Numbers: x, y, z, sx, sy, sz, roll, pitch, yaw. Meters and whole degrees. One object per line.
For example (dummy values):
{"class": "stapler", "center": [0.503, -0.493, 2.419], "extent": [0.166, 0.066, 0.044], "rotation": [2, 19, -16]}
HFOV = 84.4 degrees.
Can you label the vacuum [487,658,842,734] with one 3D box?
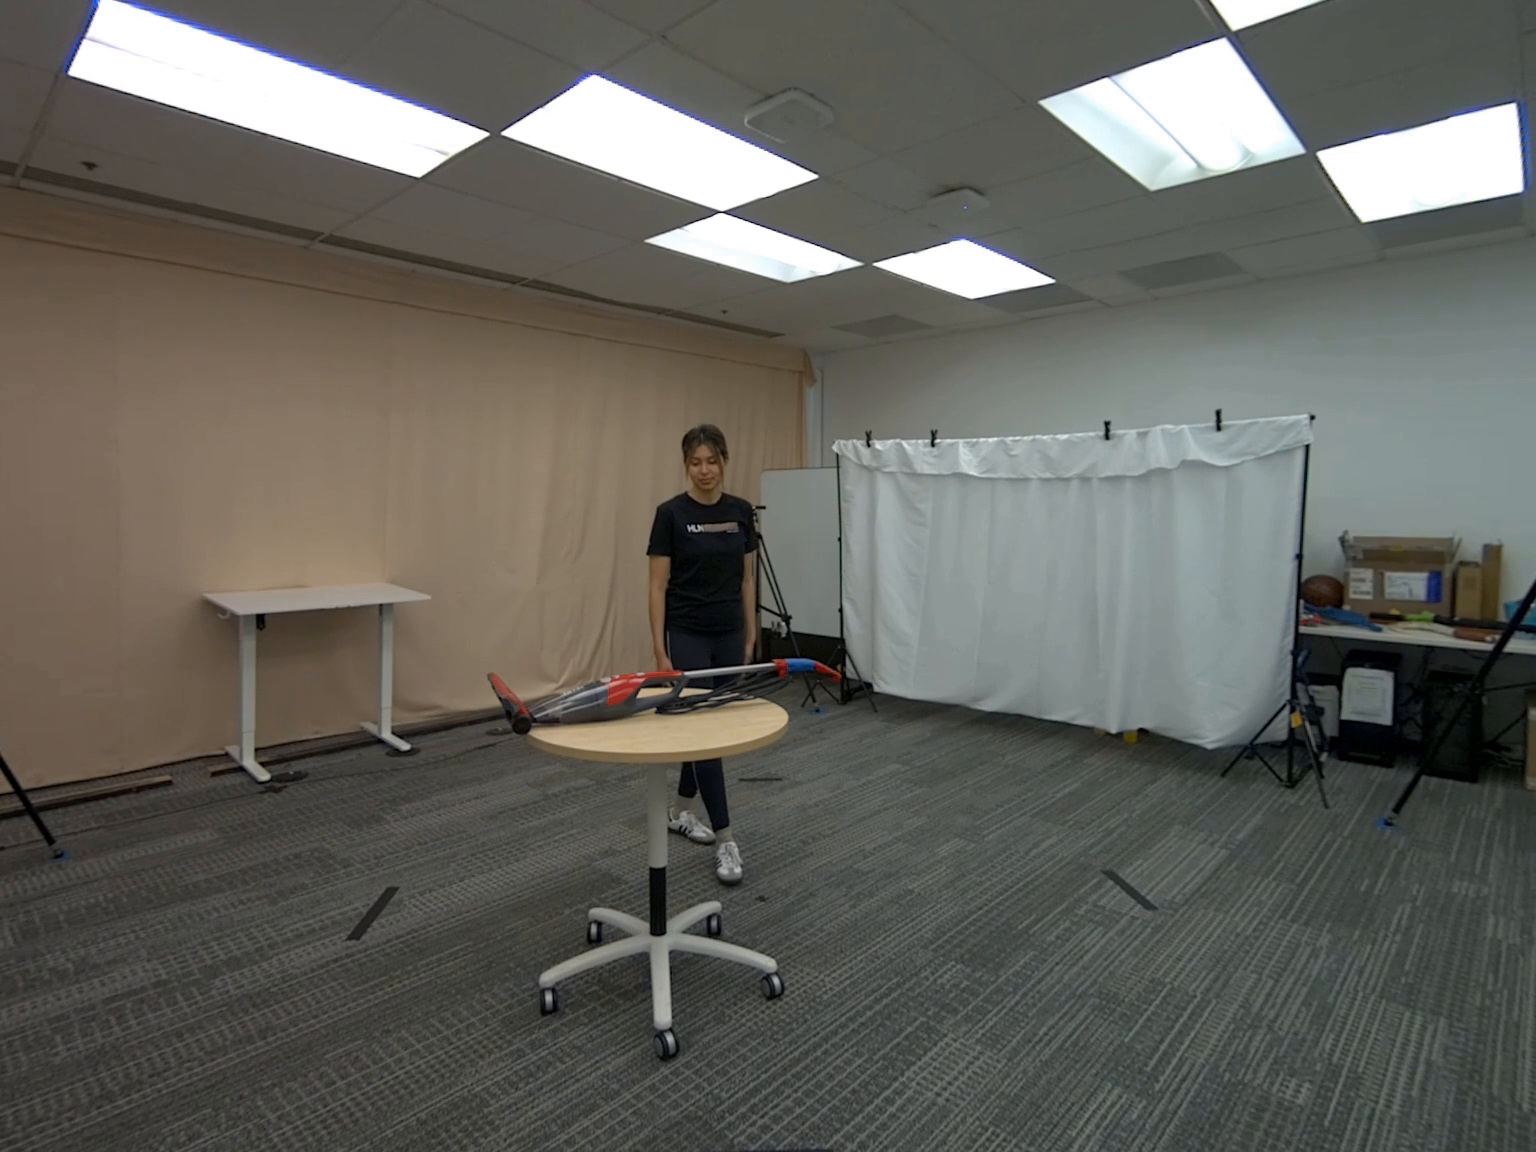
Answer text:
{"class": "vacuum", "center": [-0.249, 0.350, 2.498], "extent": [1.025, 0.143, 0.260], "rotation": [-2, 11, -23]}
